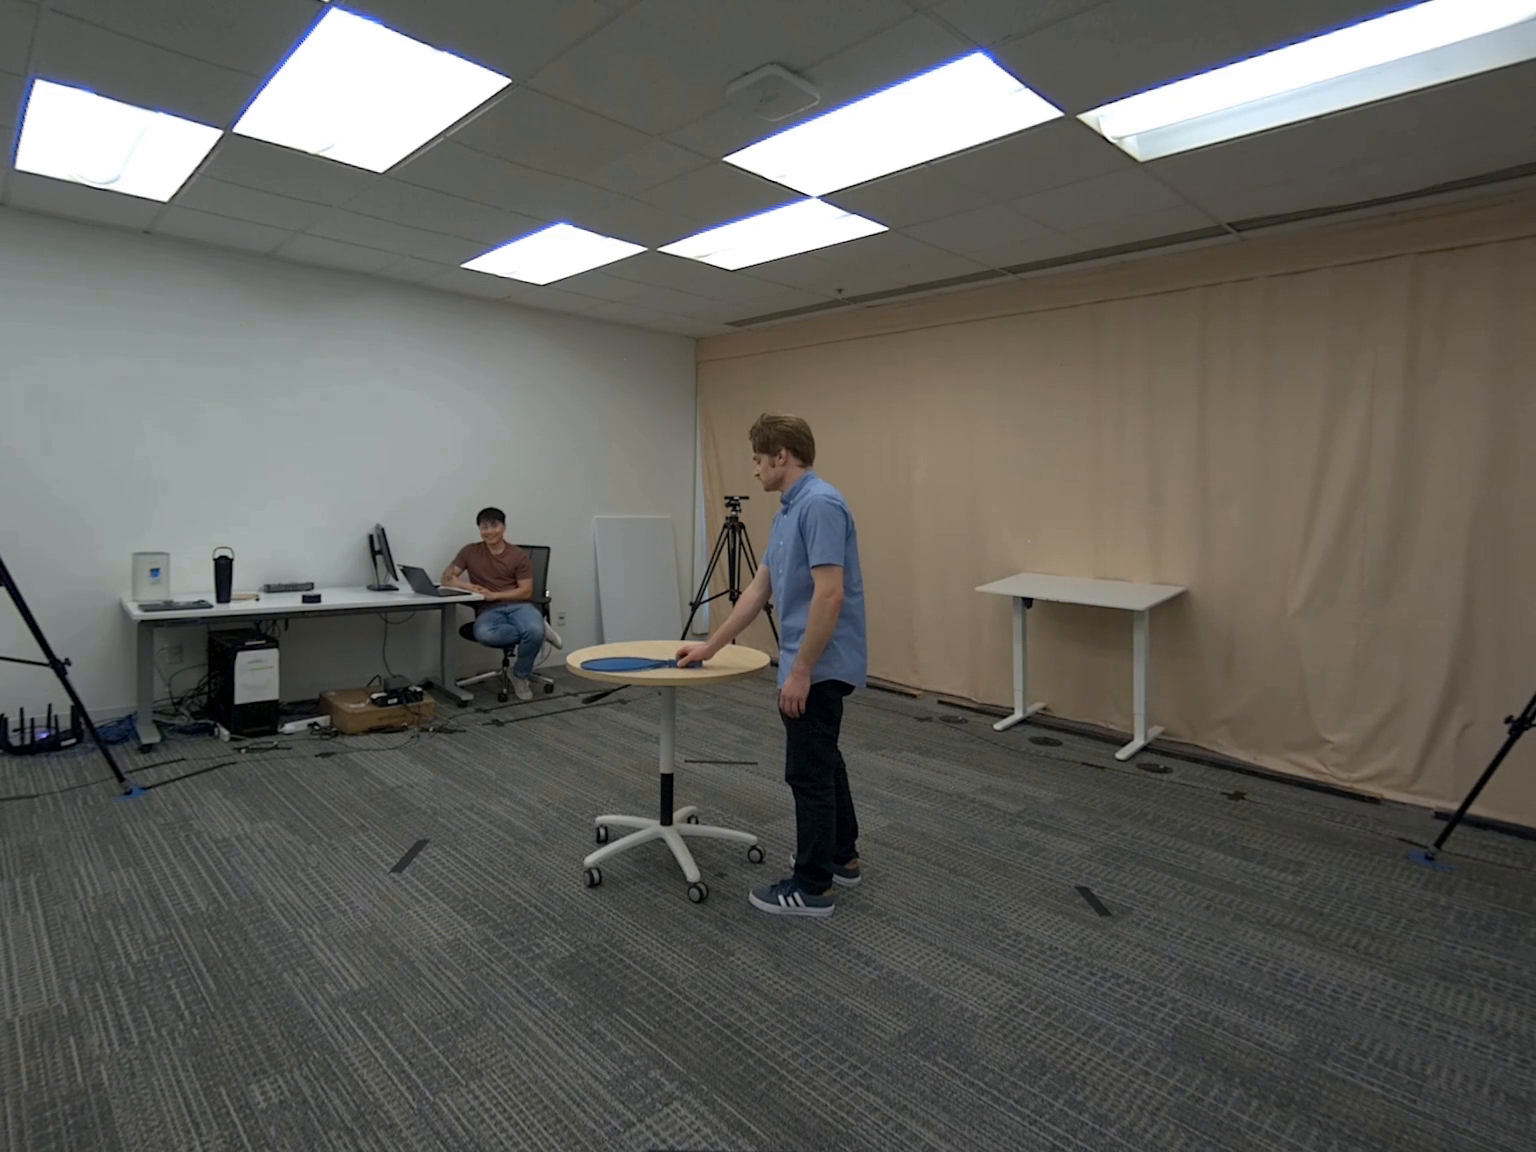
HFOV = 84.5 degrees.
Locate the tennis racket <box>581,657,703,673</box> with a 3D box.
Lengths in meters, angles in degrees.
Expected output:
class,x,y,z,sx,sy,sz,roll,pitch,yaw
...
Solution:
class,x,y,z,sx,sy,sz,roll,pitch,yaw
tennis racket,-0.451,0.316,2.975,0.433,0.032,0.214,0,4,-1
